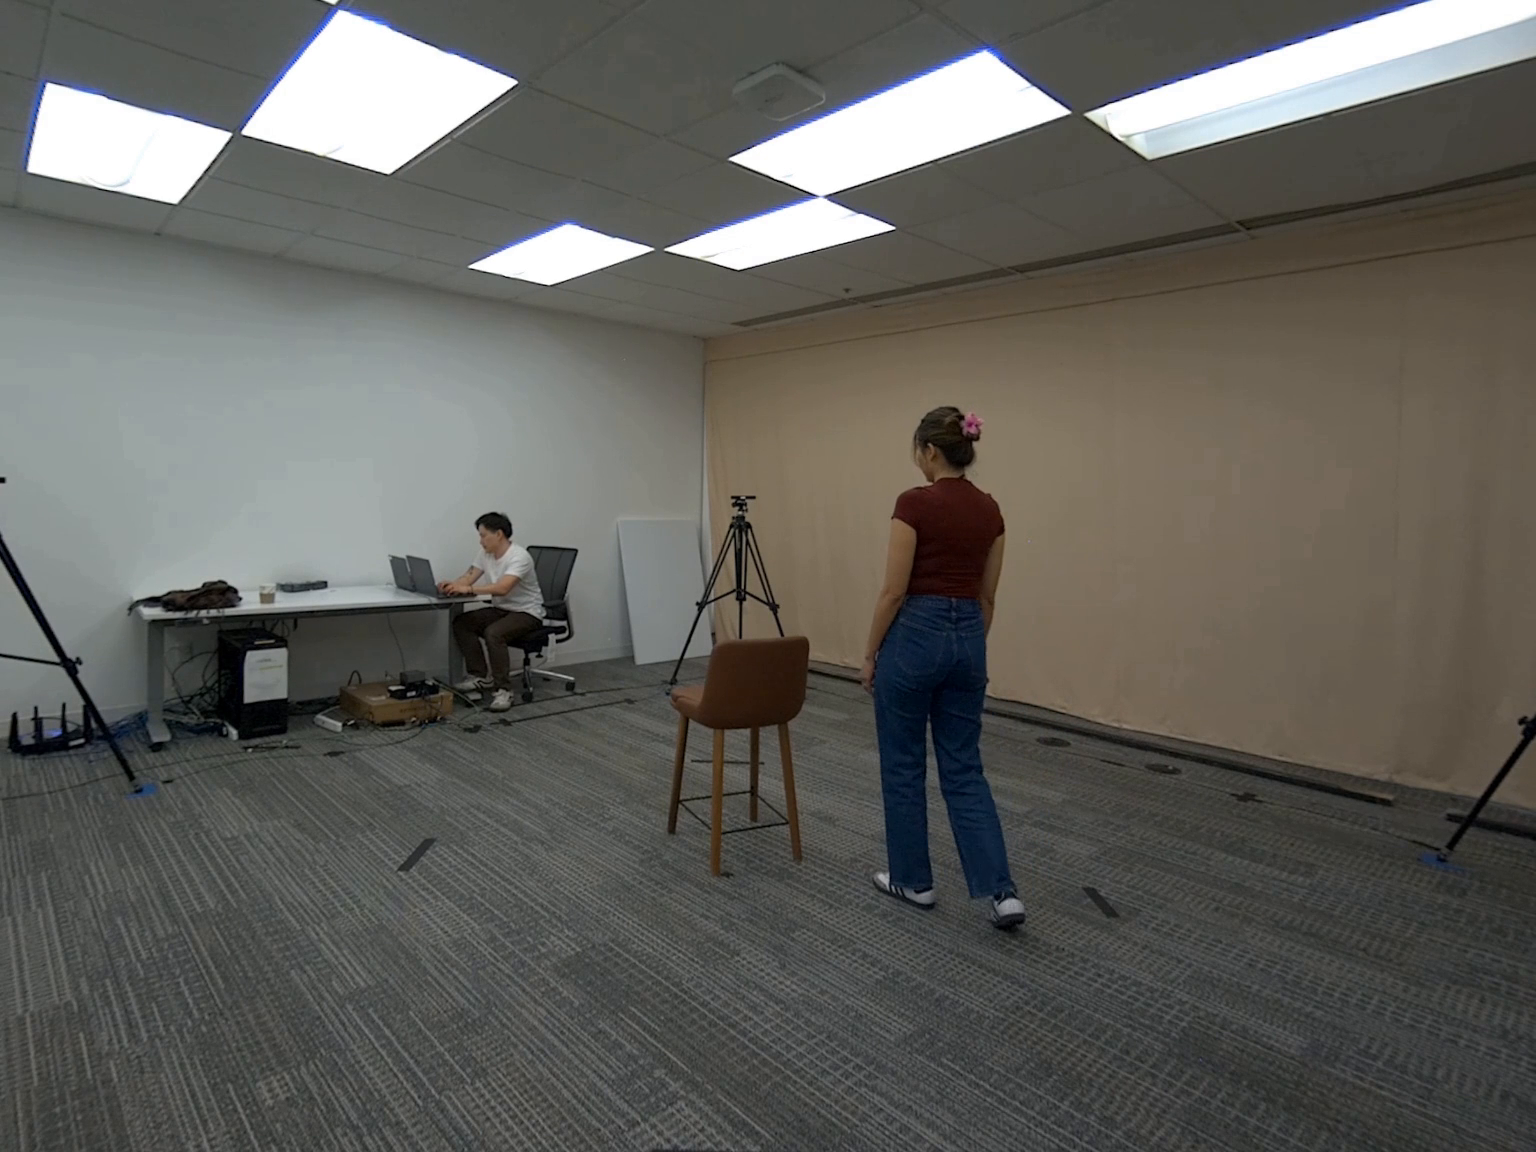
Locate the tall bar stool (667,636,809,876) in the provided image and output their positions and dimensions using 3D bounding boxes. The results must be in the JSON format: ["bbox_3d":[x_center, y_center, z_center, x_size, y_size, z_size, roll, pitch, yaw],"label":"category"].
[{"bbox_3d":[-0.127,0.645,3.334,0.448,0.887,0.478,0,5,-26],"label":"tall bar stool"}]
